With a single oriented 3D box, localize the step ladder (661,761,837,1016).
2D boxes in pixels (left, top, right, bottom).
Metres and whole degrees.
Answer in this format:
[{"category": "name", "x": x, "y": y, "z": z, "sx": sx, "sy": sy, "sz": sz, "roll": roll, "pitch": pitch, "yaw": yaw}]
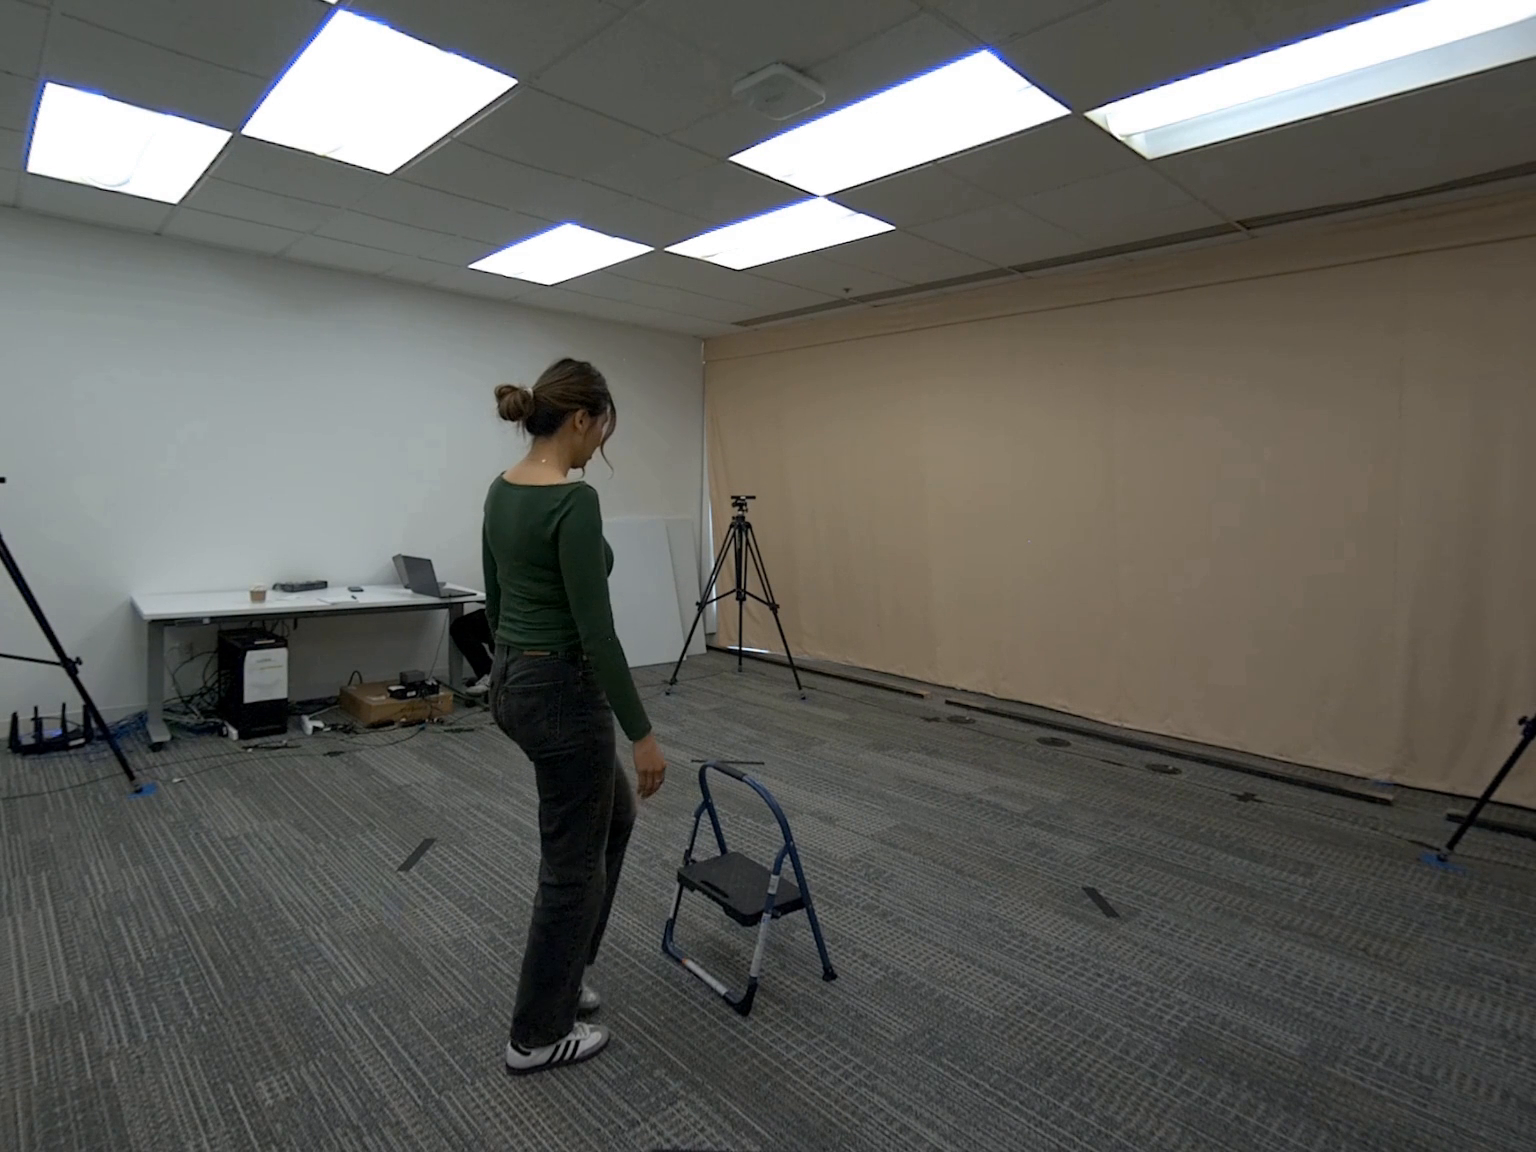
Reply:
[{"category": "step ladder", "x": -0.063, "y": 0.856, "z": 2.496, "sx": 0.341, "sy": 0.604, "sz": 0.441, "roll": -2, "pitch": 5, "yaw": -40}]
